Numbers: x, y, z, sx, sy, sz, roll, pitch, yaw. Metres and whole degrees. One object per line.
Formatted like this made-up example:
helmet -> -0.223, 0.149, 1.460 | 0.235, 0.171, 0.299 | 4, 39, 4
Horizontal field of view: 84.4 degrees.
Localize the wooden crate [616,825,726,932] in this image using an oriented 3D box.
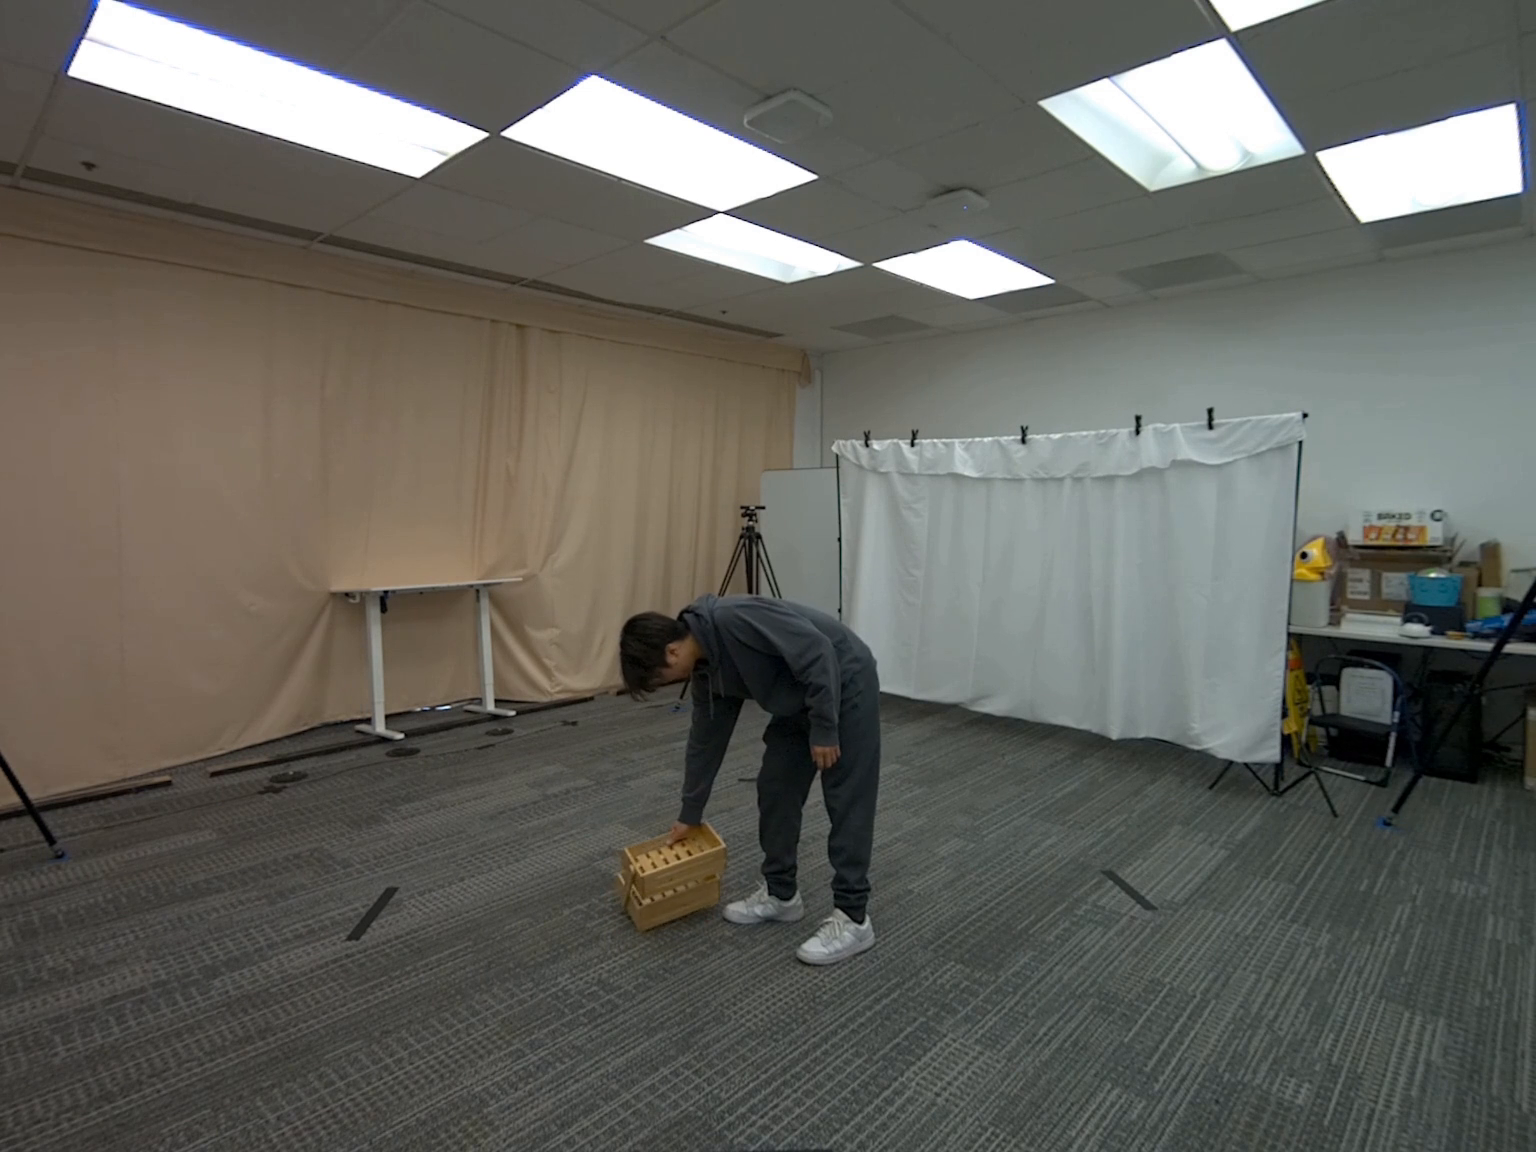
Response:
wooden crate -> -0.337, 0.983, 2.859 | 0.317, 0.270, 0.312 | -11, 22, -26
